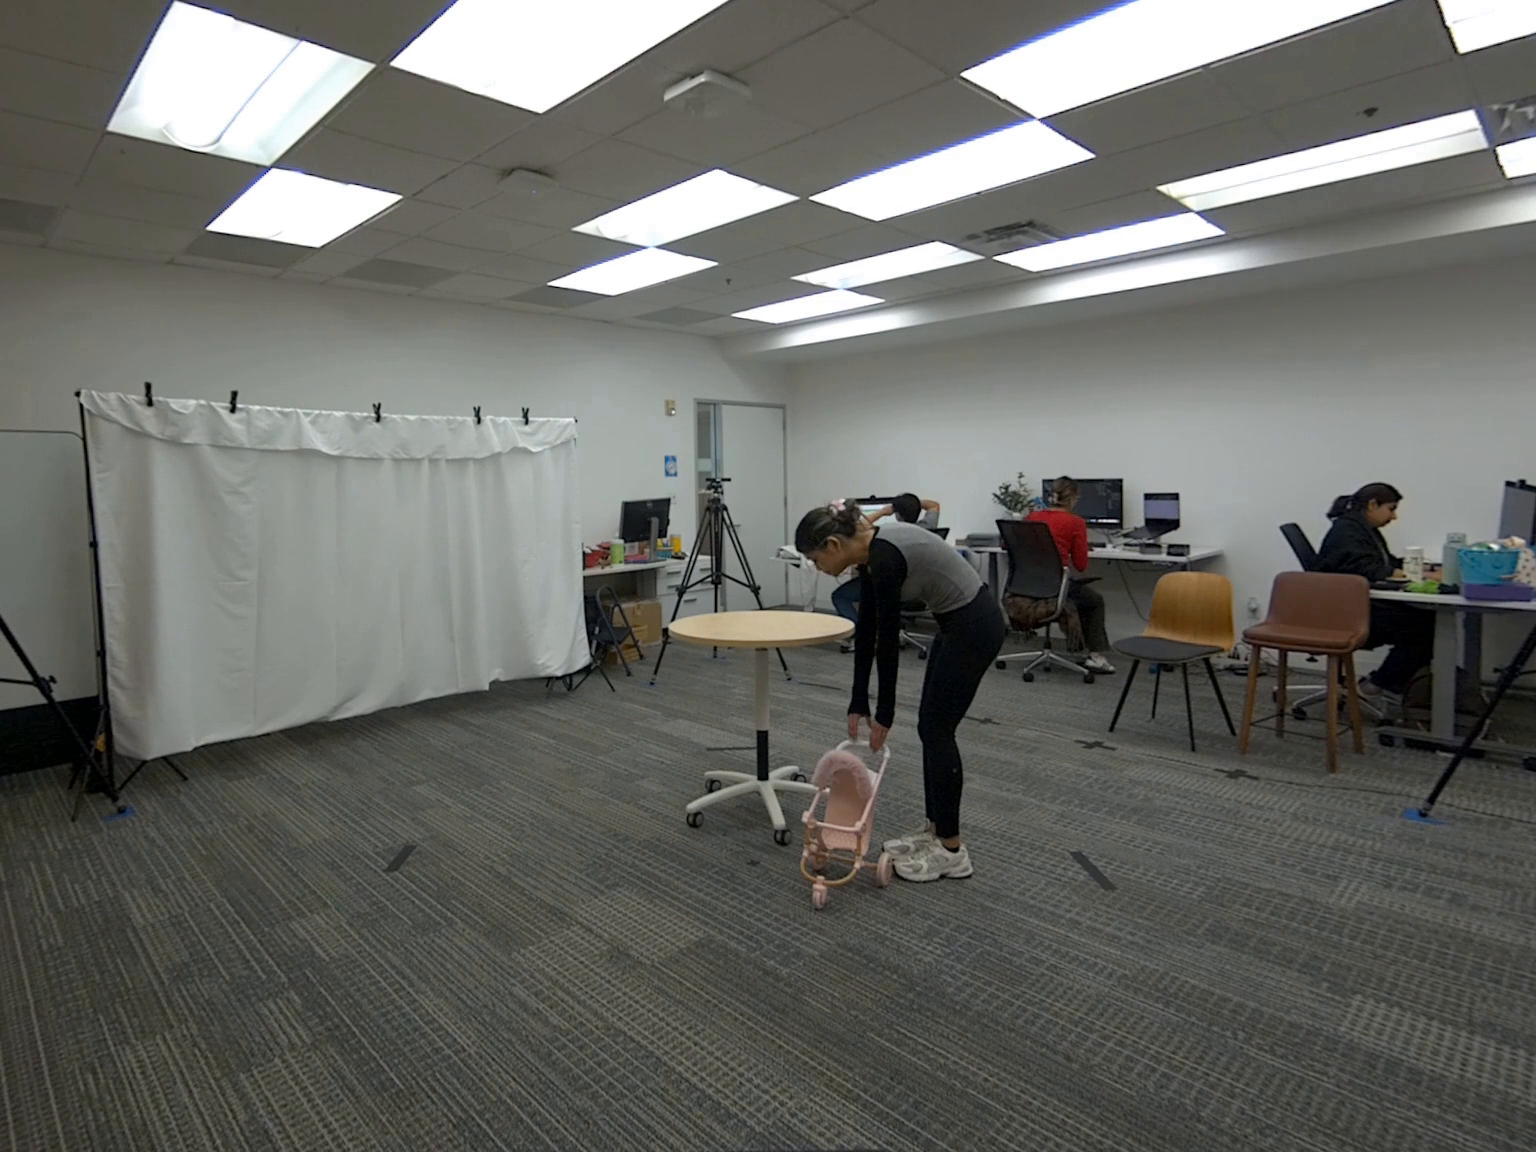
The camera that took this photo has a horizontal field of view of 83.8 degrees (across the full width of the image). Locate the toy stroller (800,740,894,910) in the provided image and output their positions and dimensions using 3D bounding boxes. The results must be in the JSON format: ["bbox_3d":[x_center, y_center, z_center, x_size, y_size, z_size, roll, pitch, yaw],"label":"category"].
[{"bbox_3d":[0.254,0.834,2.914,0.289,0.539,0.330,0,-10,34],"label":"toy stroller"}]
